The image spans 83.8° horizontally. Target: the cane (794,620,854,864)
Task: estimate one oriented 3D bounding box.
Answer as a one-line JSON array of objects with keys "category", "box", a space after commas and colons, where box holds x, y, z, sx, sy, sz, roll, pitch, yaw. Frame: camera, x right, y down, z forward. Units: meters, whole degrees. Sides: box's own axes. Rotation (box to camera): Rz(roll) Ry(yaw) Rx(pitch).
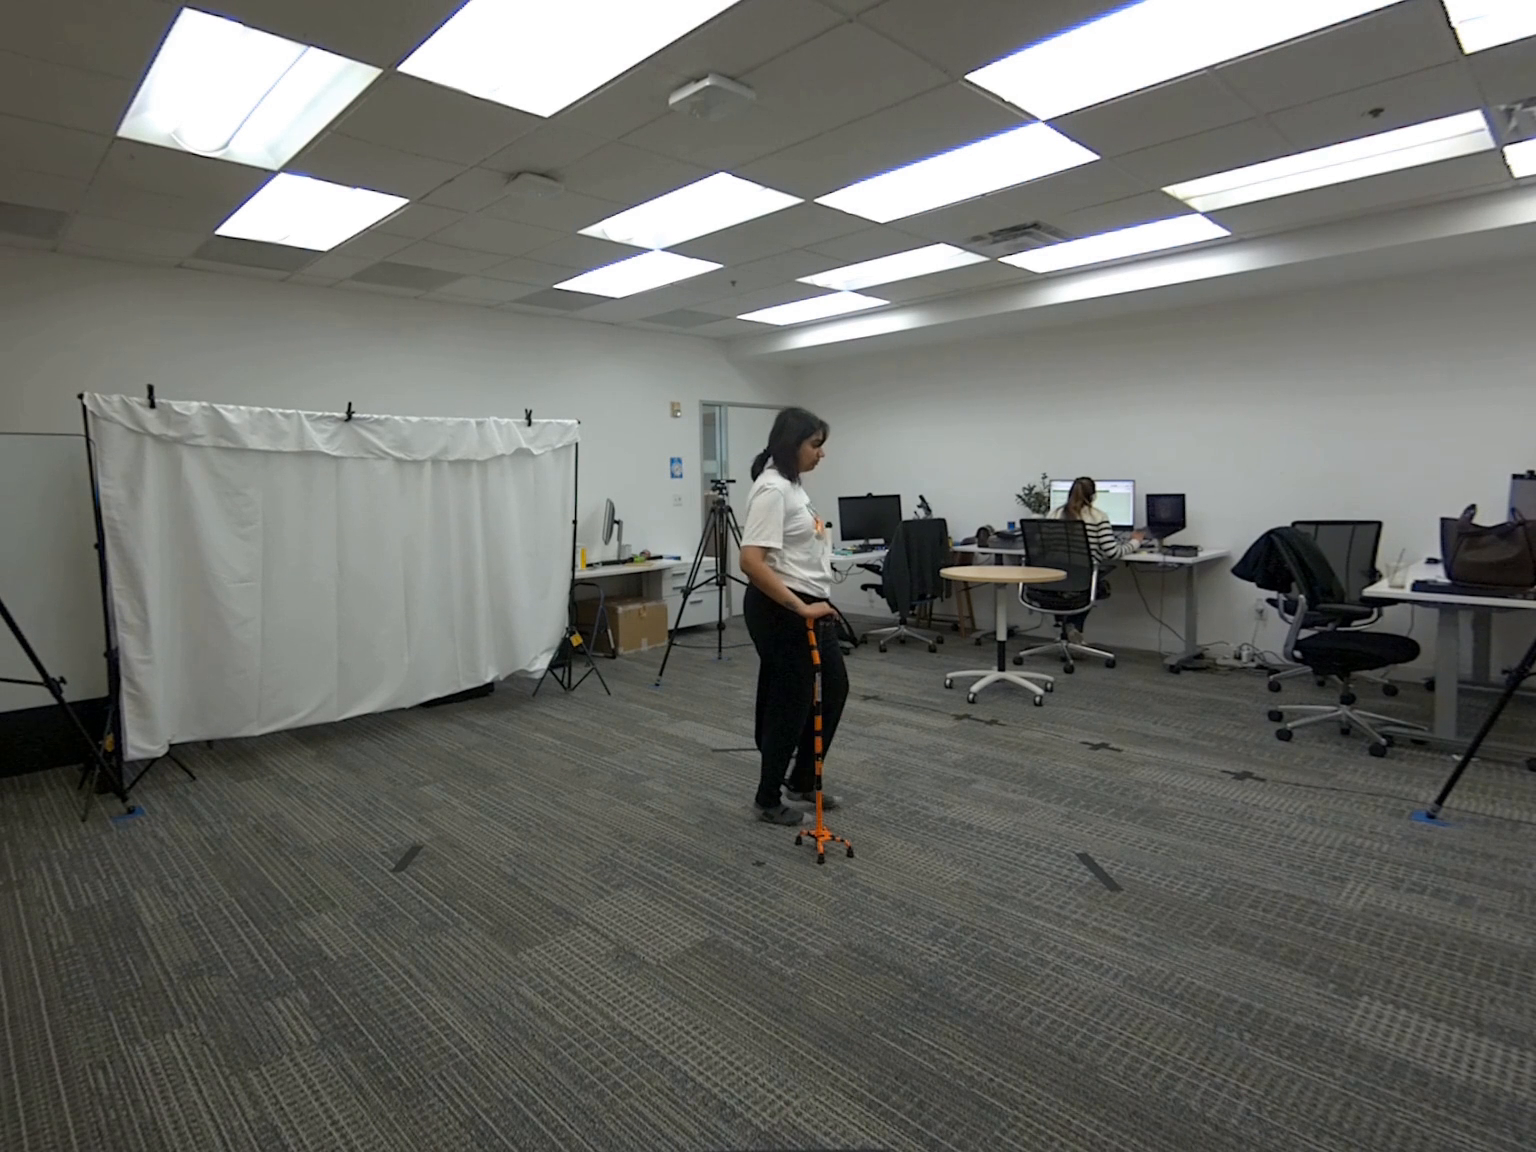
[{"category": "cane", "box": [0.216, 0.586, 3.177, 0.148, 0.904, 0.211, -2, 5, -24]}]
